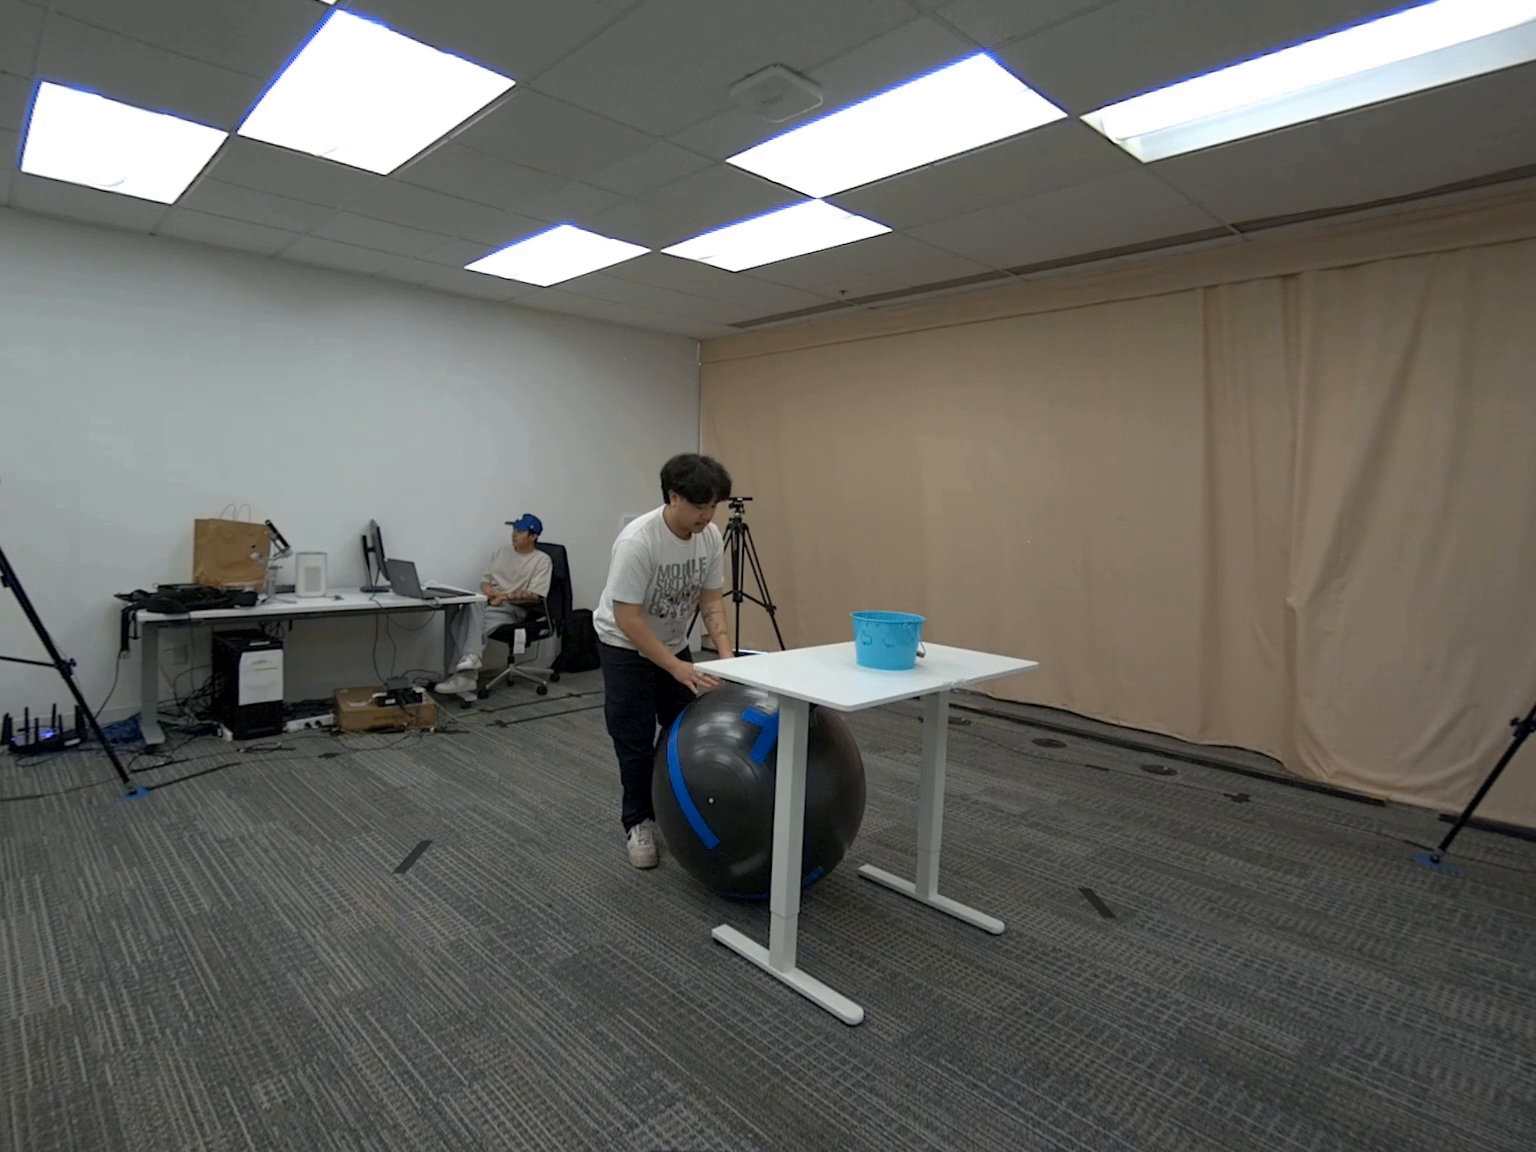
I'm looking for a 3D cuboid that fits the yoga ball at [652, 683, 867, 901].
[{"bbox_3d":[-0.033,0.756,2.999,0.757,0.756,0.761,1,4,-1],"label":"yoga ball"}]
